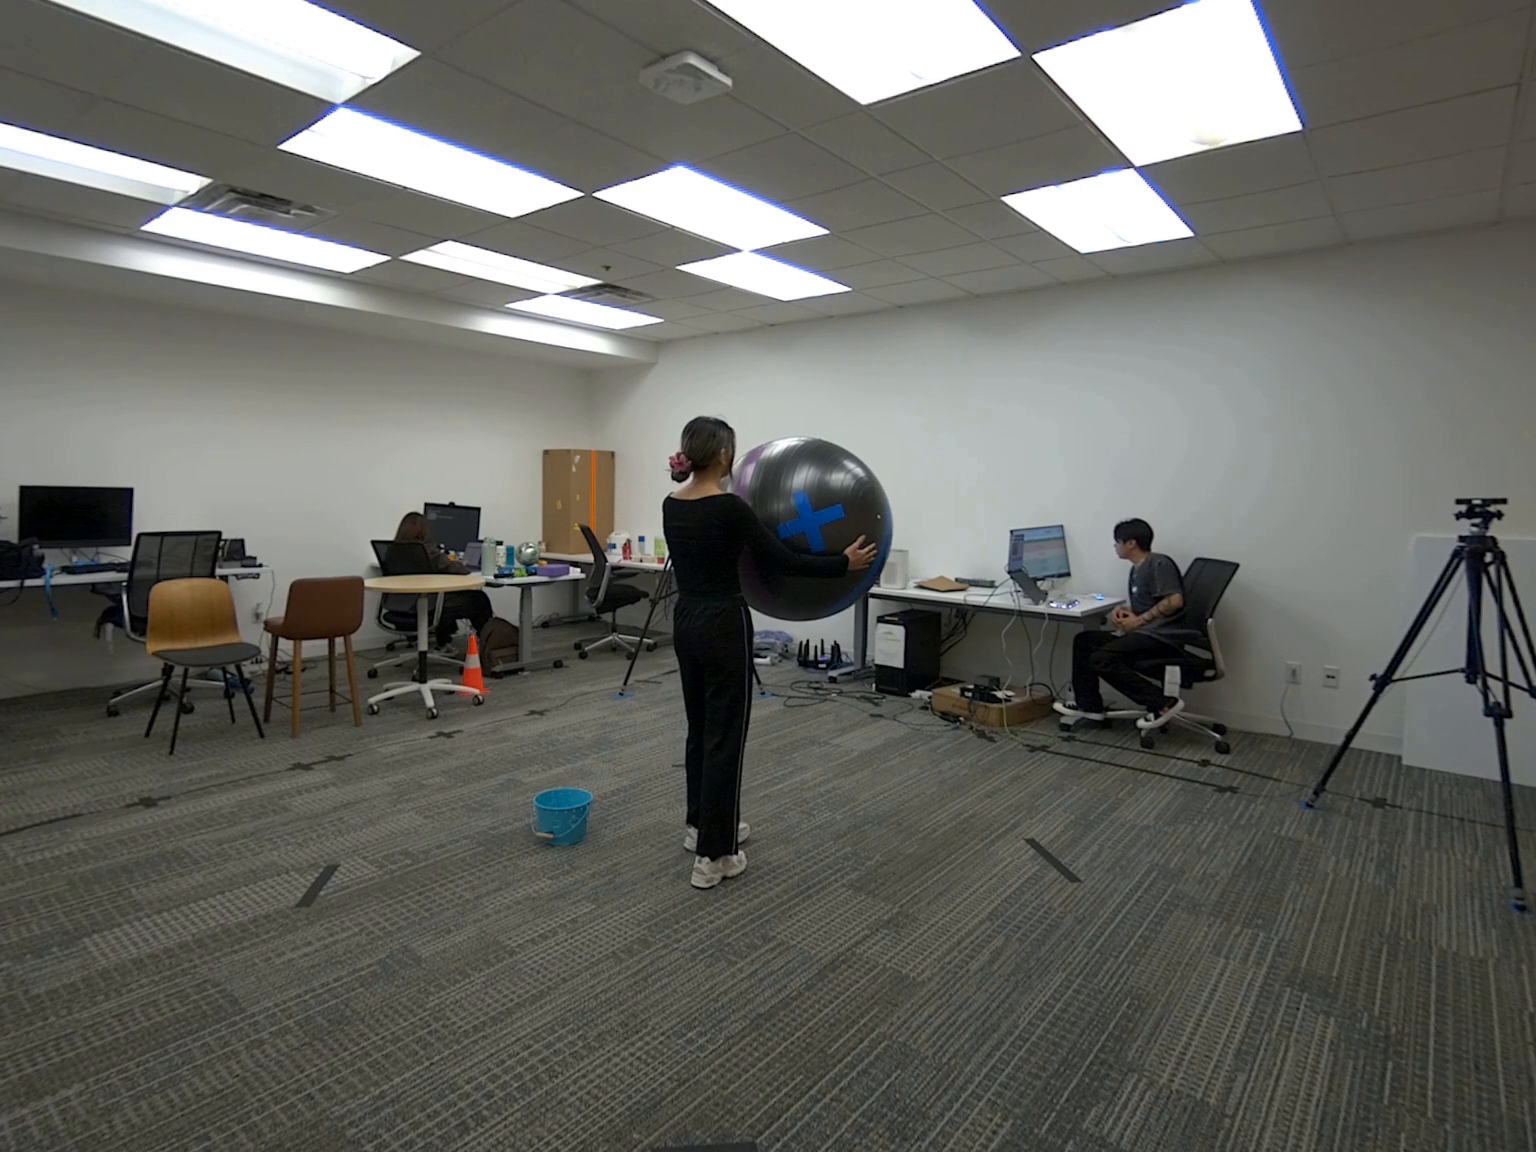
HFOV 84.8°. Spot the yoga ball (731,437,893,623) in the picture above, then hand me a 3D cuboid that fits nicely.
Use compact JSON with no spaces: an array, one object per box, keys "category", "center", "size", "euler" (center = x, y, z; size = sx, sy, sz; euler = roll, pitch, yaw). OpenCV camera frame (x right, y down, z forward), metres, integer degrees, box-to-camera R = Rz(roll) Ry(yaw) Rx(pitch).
[{"category":"yoga ball","center":[0.120,-0.189,3.506],"size":[0.757,0.755,0.762],"euler":[1,4,-2]}]
